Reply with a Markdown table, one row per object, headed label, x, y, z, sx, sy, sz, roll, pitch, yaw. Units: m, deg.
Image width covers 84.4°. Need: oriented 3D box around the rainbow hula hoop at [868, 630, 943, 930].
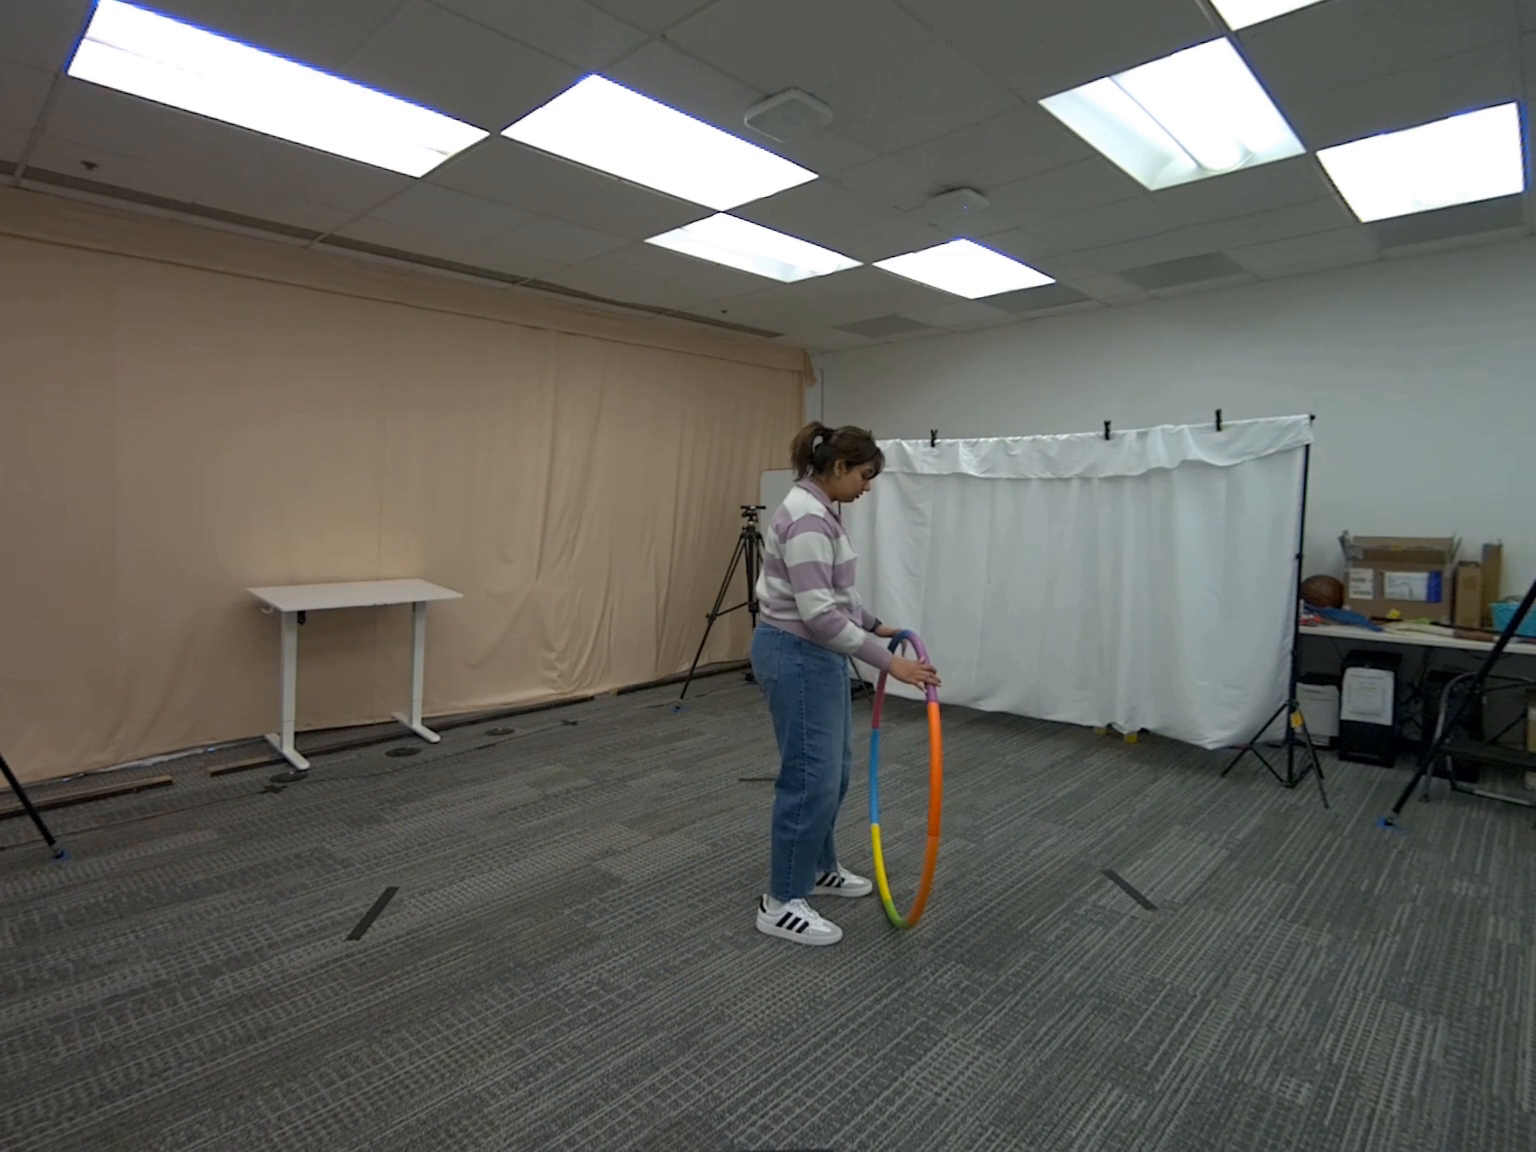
| label | x | y | z | sx | sy | sz | roll | pitch | yaw |
| --- | --- | --- | --- | --- | --- | --- | --- | --- | --- |
| rainbow hula hoop | 0.455 | 0.669 | 2.866 | 0.051 | 0.983 | 0.989 | 4 | 4 | -3 |
